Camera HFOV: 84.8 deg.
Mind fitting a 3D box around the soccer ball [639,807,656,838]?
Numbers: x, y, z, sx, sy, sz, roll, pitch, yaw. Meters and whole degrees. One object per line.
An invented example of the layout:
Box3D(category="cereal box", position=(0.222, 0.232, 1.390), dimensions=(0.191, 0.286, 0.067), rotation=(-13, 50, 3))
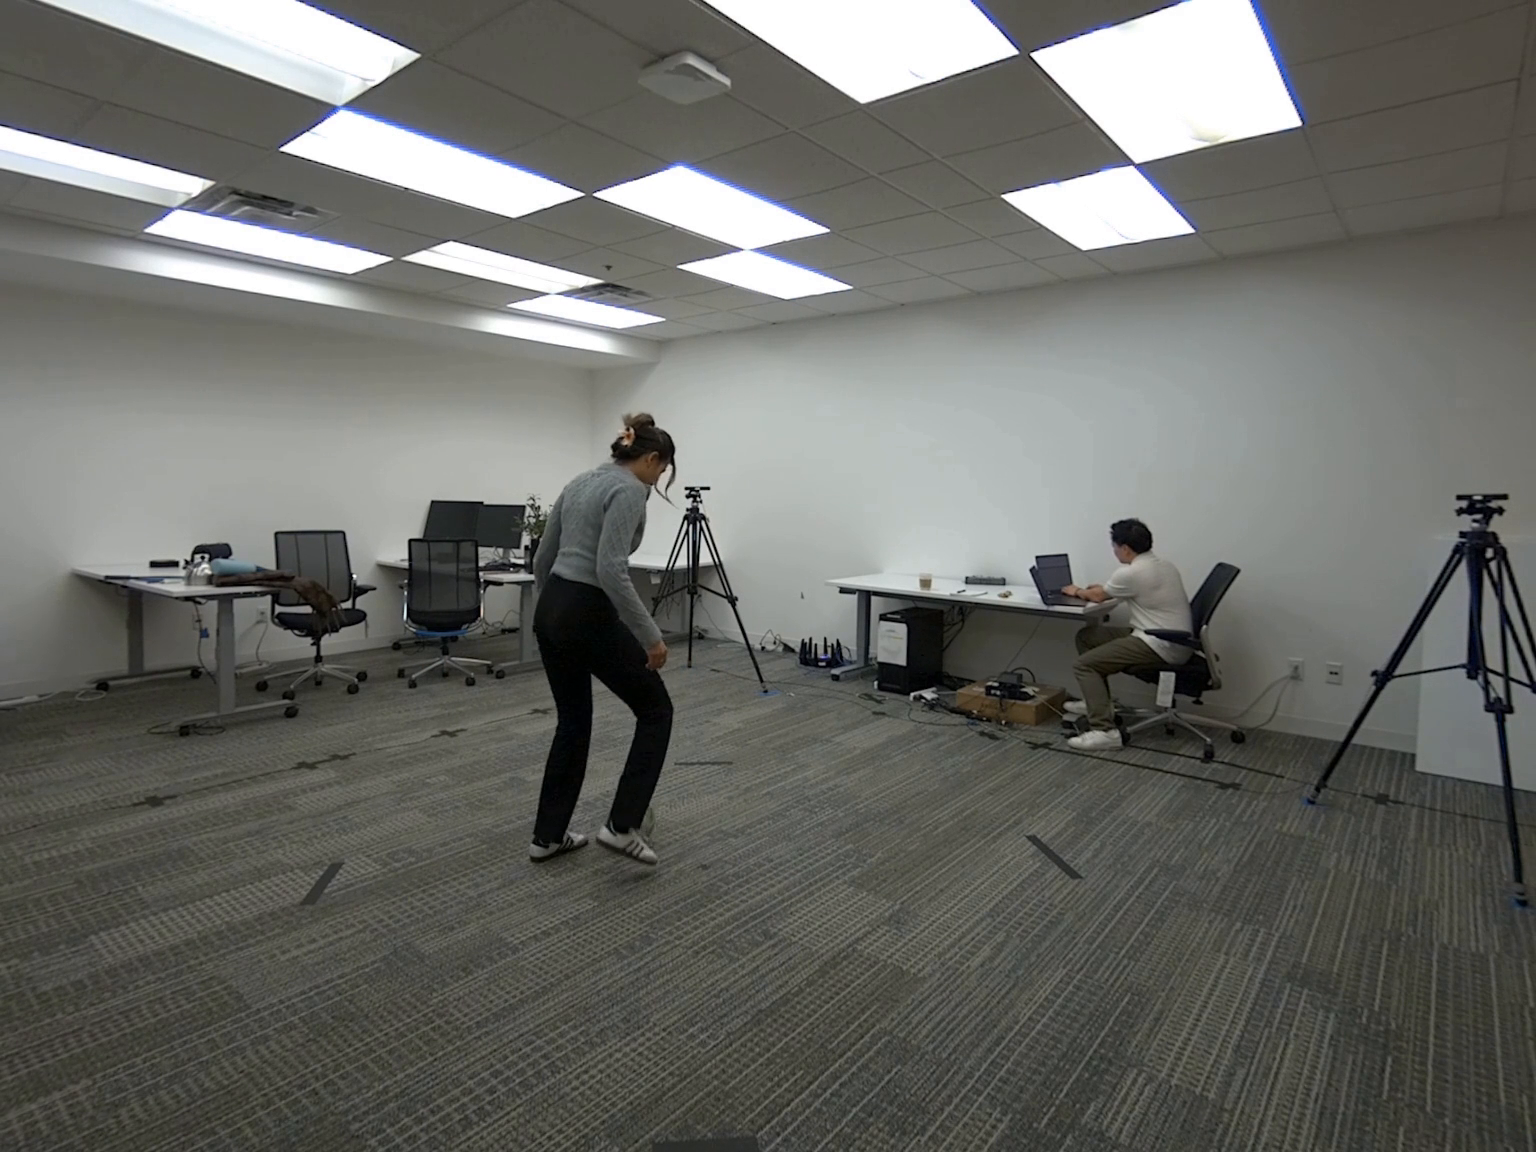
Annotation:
Box3D(category="soccer ball", position=(-0.528, 0.940, 3.299), dimensions=(0.187, 0.187, 0.188), rotation=(1, 4, -2))
